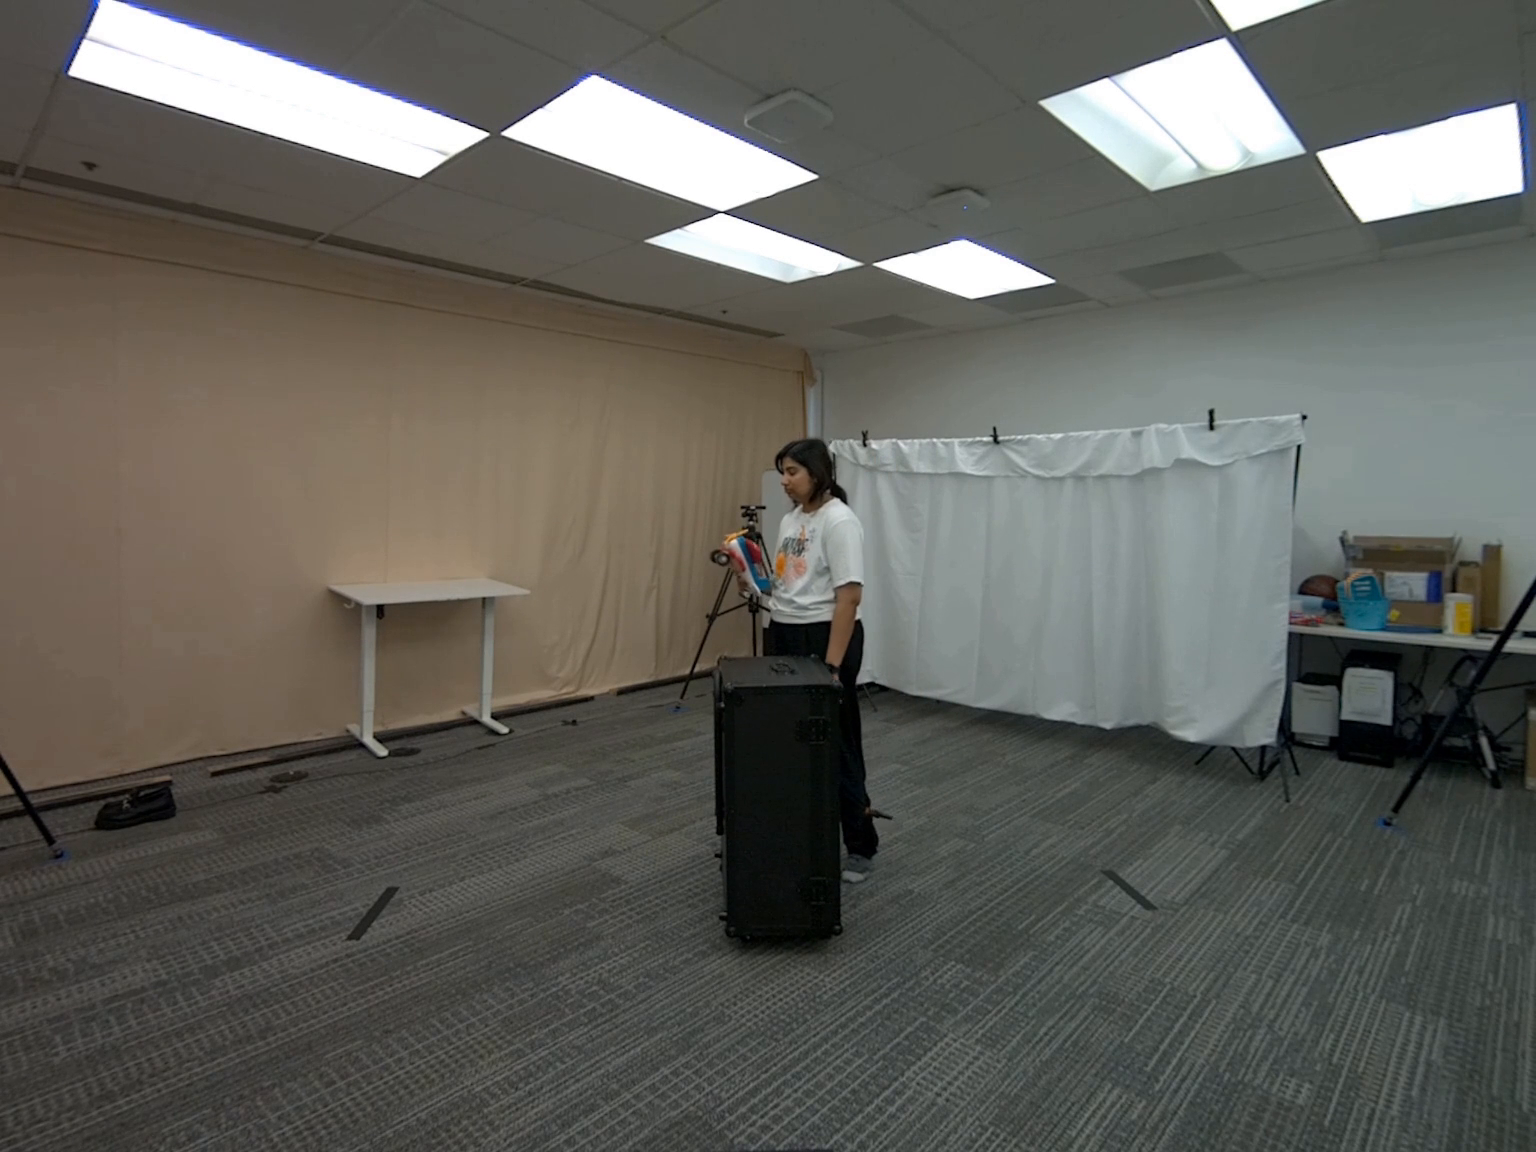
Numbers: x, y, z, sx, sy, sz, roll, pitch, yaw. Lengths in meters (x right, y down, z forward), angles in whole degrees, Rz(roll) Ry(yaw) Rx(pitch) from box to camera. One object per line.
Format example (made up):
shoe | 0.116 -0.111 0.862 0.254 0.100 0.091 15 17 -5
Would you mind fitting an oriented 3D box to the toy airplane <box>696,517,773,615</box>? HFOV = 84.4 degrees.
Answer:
toy airplane | -0.106 -0.042 3.302 0.156 0.251 0.260 -39 44 -11
